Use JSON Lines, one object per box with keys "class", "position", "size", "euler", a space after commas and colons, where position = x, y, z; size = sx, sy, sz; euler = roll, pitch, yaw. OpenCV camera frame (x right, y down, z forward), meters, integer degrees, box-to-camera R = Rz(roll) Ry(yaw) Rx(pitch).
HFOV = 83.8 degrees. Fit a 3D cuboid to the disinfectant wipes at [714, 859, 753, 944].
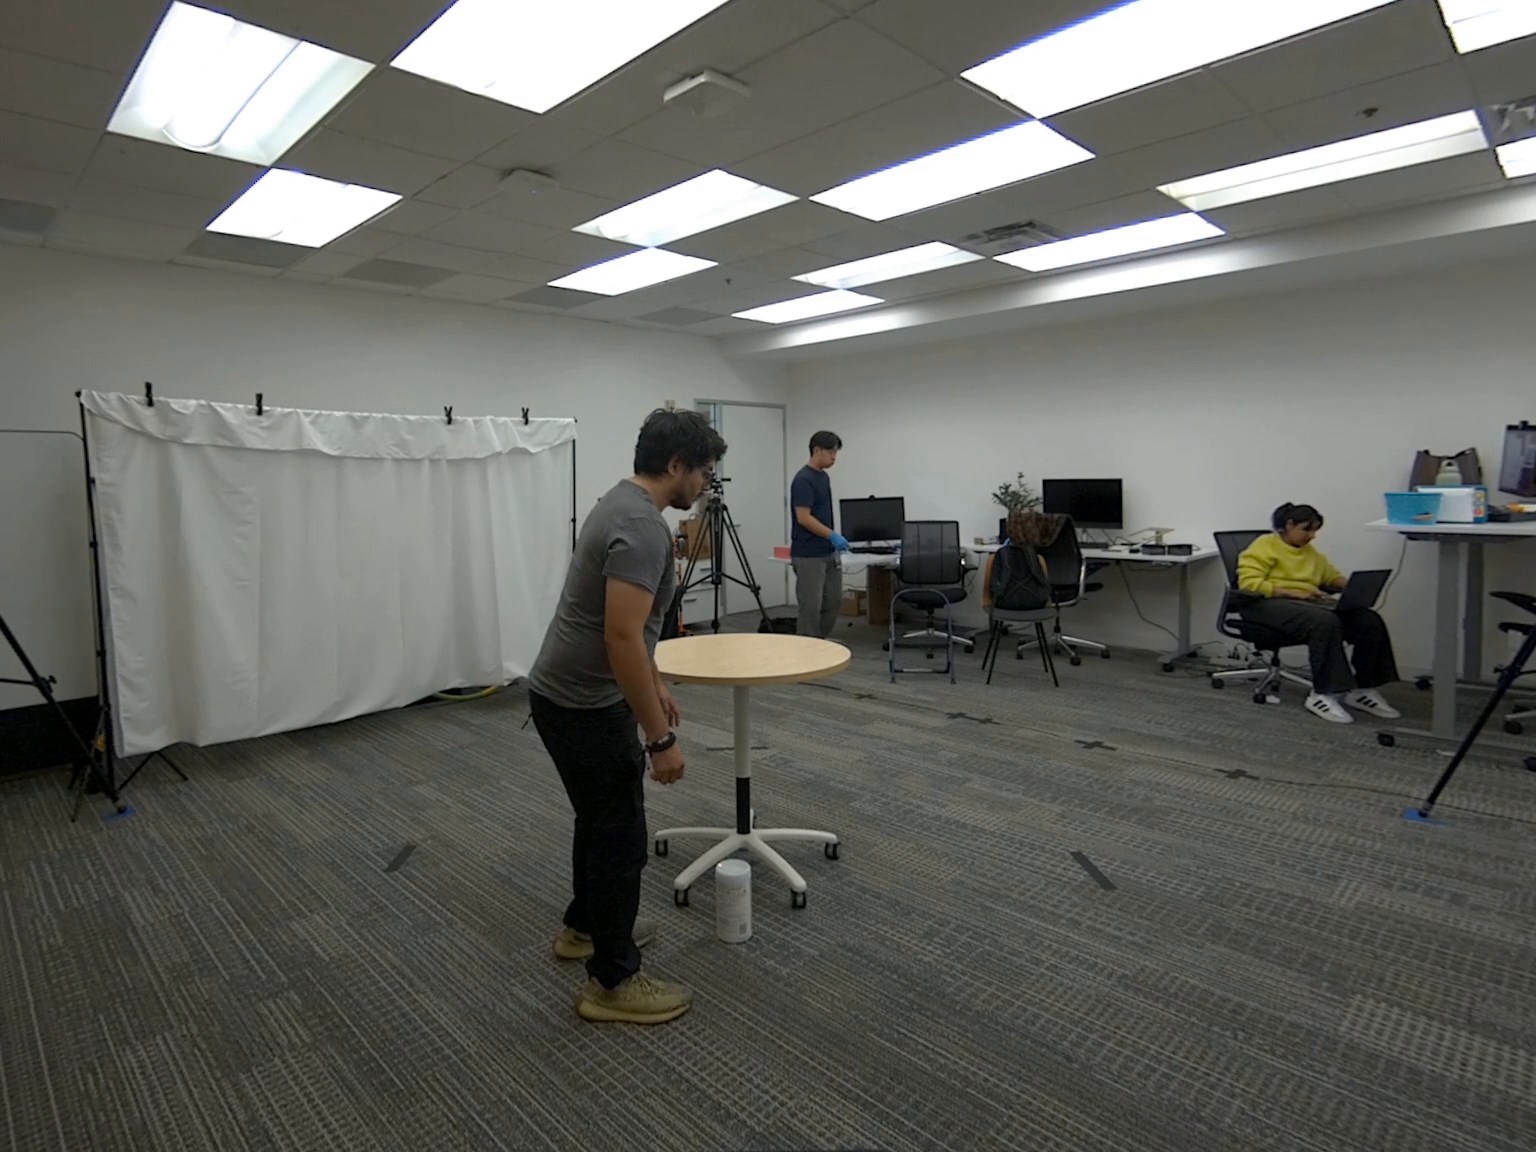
{"class": "disinfectant wipes", "position": [-0.105, 0.992, 2.618], "size": [0.118, 0.216, 0.118], "euler": [-1, 7, -2]}
